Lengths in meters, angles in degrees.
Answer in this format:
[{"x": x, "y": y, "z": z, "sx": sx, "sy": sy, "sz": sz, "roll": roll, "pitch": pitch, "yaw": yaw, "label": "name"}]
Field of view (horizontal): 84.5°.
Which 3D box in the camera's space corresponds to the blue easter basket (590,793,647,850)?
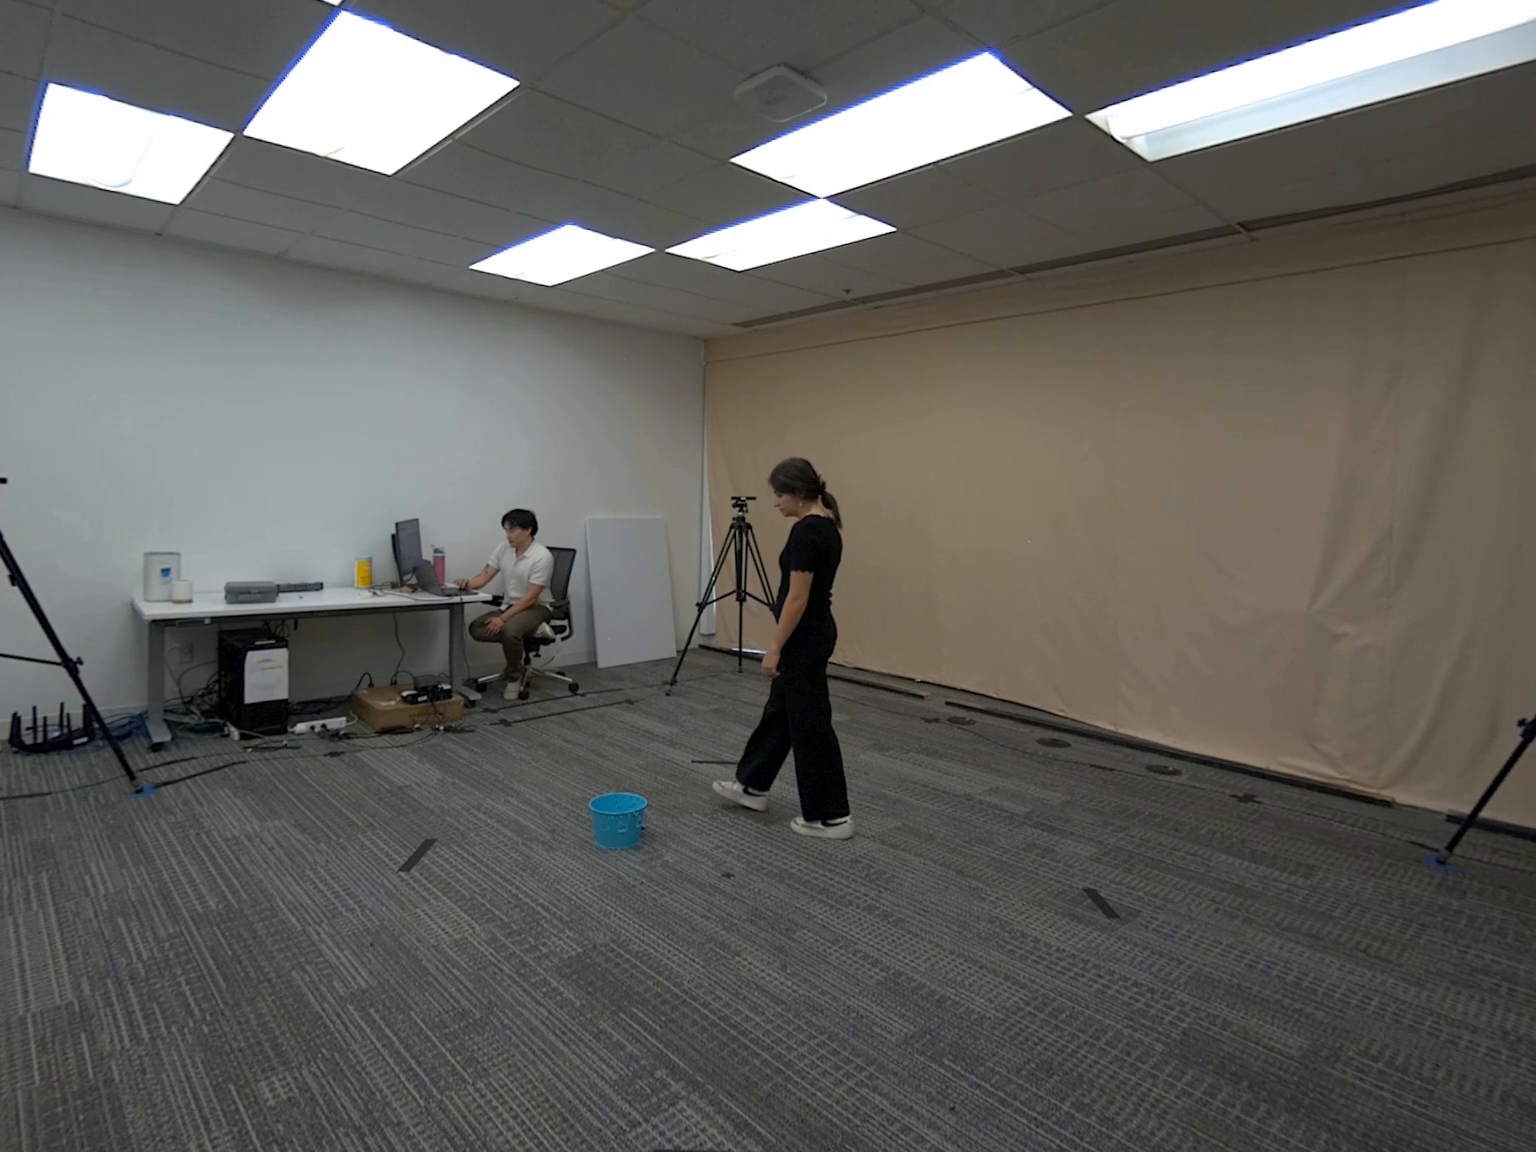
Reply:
[{"x": -0.608, "y": 0.988, "z": 3.398, "sx": 0.243, "sy": 0.155, "sz": 0.244, "roll": 1, "pitch": 5, "yaw": -1, "label": "blue easter basket"}]
